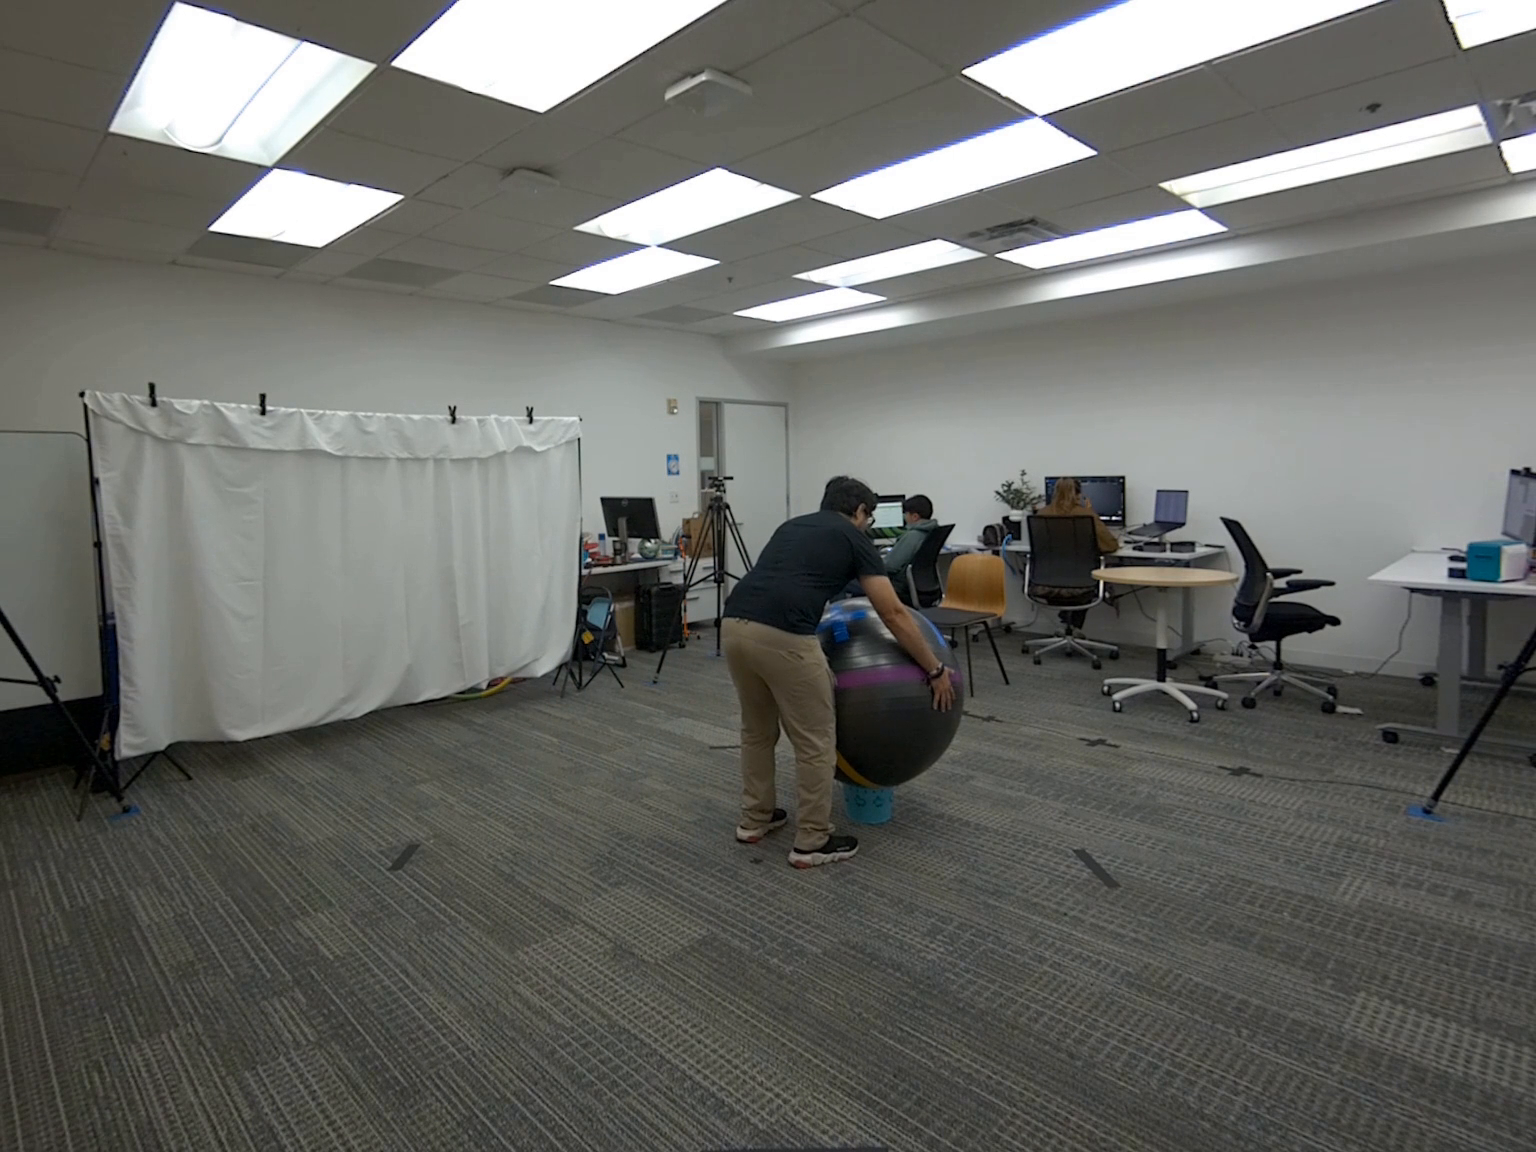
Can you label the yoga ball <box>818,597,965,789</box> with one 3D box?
[{"bbox_3d":[0.413,0.470,3.497,0.757,0.755,0.762,-1,5,-2],"label":"yoga ball"}]
